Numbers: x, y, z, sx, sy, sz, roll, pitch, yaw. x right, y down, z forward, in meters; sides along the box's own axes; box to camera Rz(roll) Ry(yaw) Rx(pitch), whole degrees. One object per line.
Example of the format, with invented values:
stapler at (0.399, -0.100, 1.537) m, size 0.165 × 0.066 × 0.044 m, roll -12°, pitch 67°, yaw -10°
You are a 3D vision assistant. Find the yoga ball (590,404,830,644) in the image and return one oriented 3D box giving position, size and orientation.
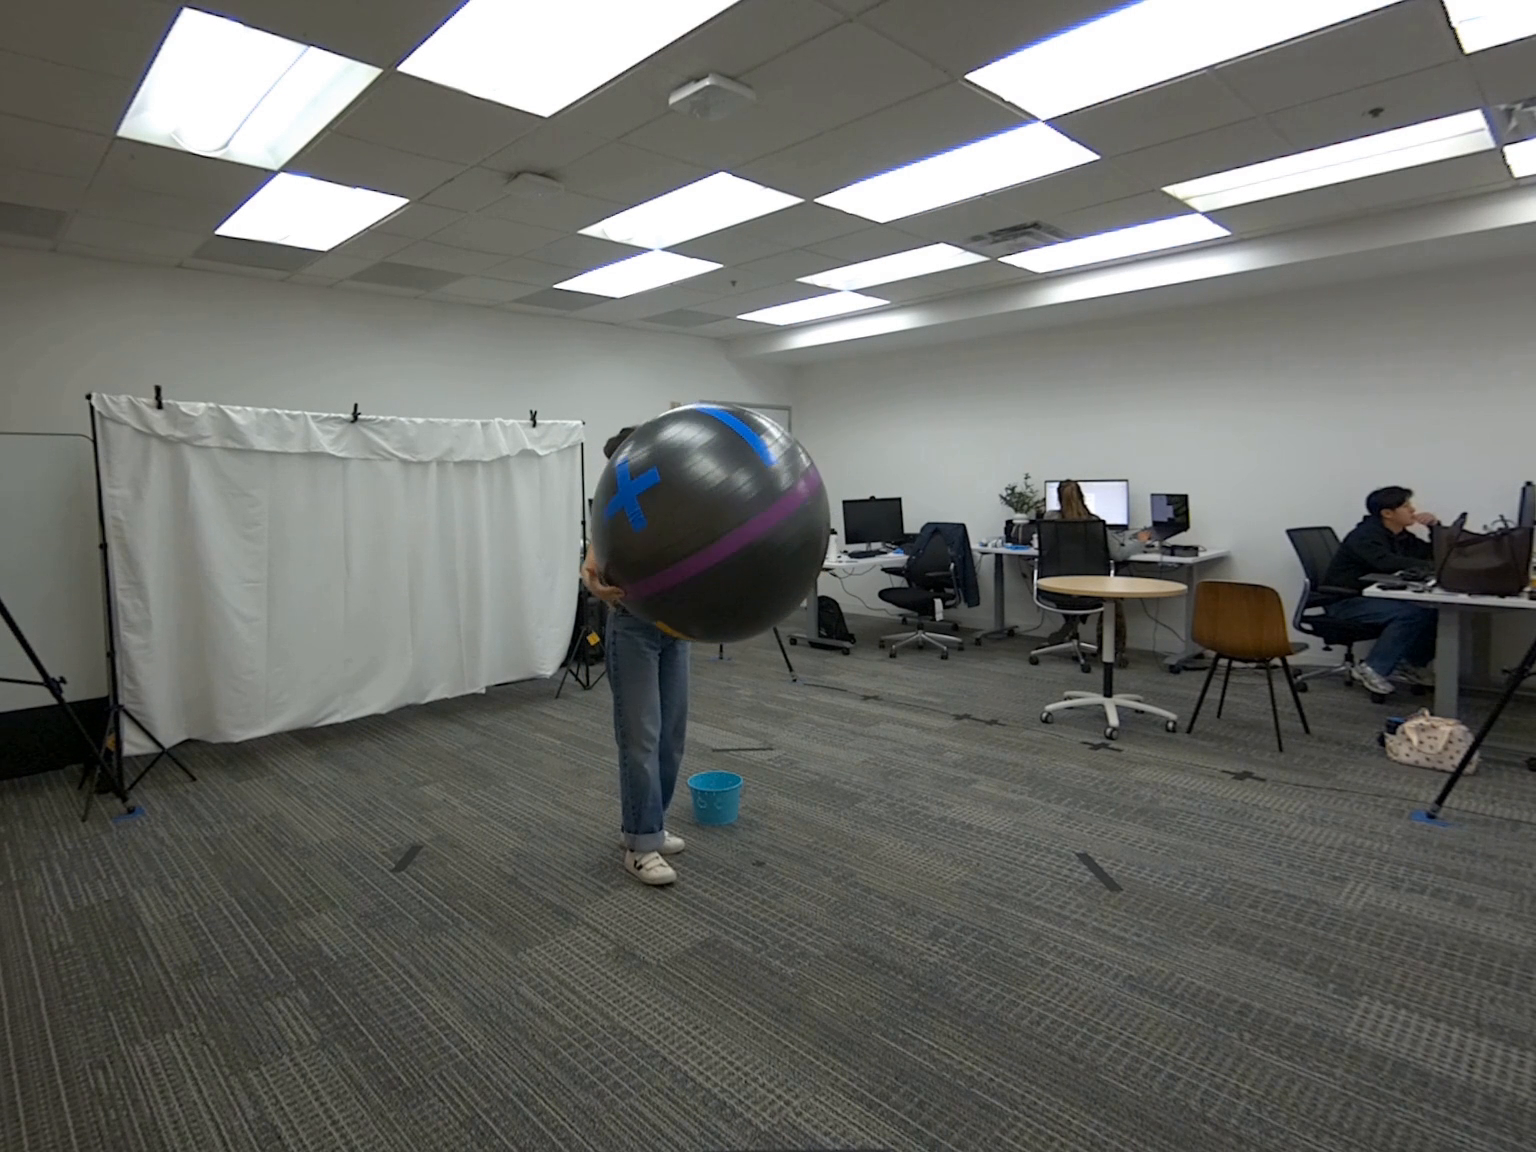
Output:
yoga ball at (-0.170, -0.163, 2.707) m, size 0.757 × 0.755 × 0.762 m, roll -1°, pitch 5°, yaw -2°
